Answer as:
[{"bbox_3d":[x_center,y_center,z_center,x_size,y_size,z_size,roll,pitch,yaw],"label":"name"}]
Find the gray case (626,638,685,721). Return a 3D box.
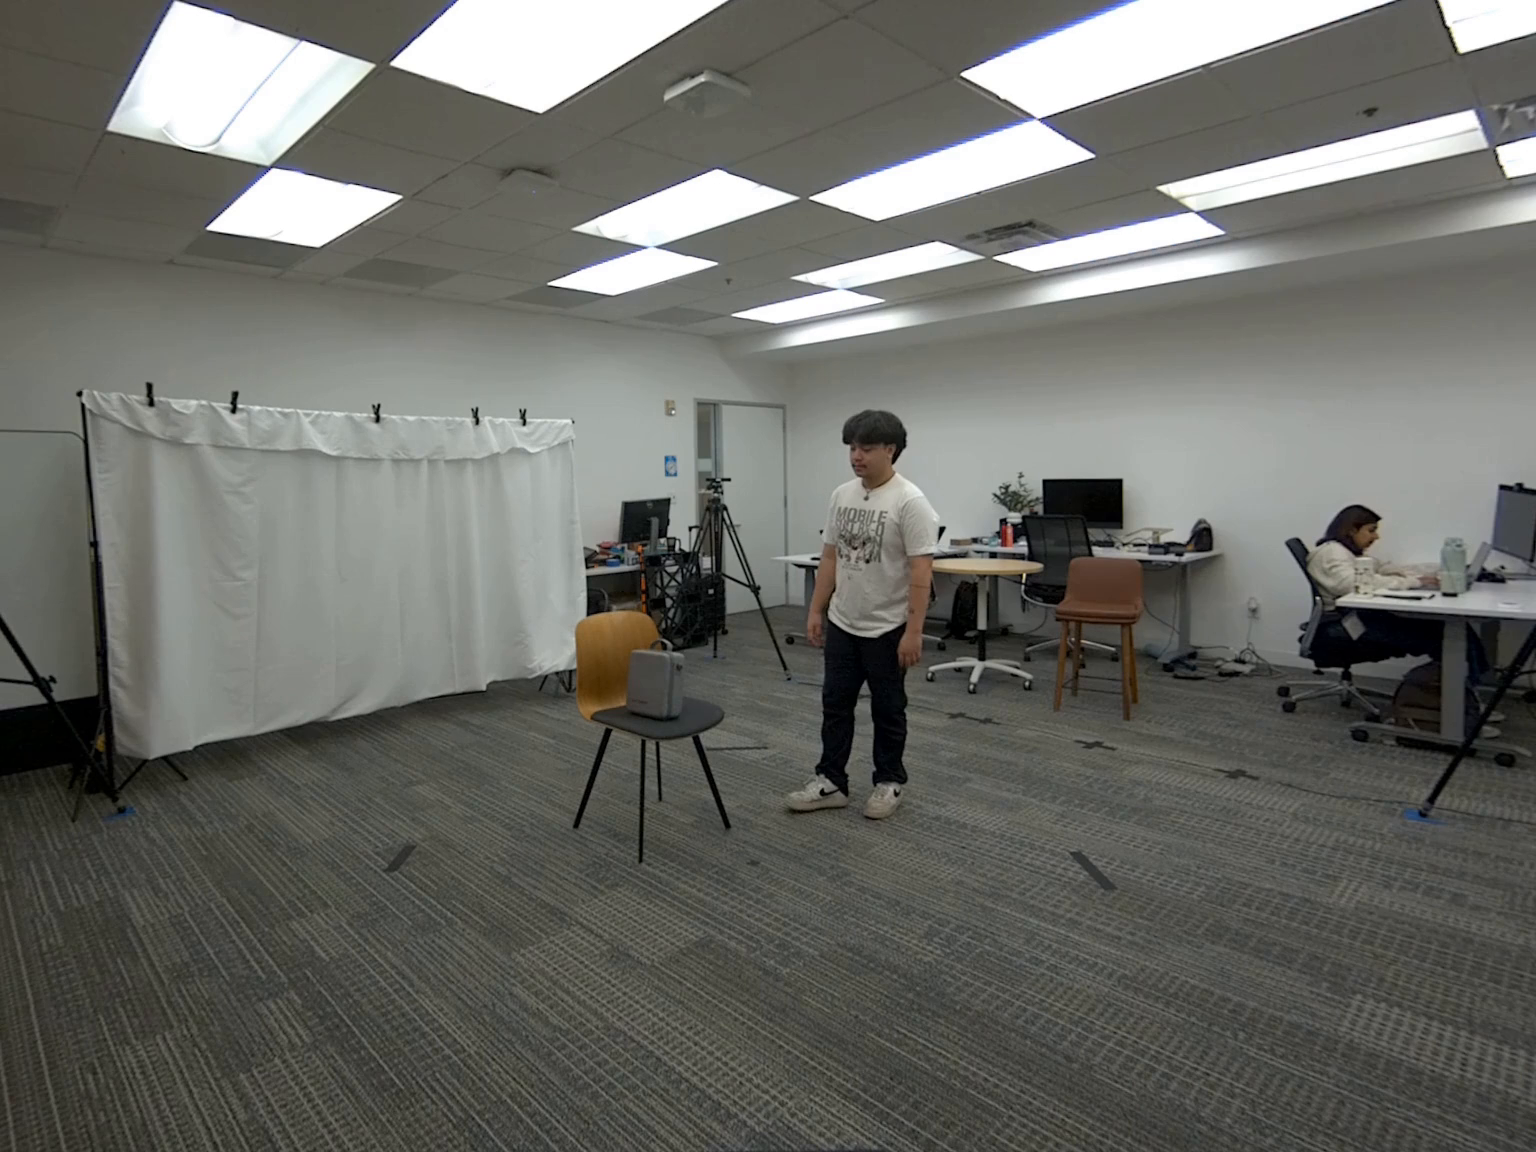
[{"bbox_3d":[-0.440,0.416,3.351,0.101,0.262,0.264,8,-6,-42],"label":"gray case"}]
